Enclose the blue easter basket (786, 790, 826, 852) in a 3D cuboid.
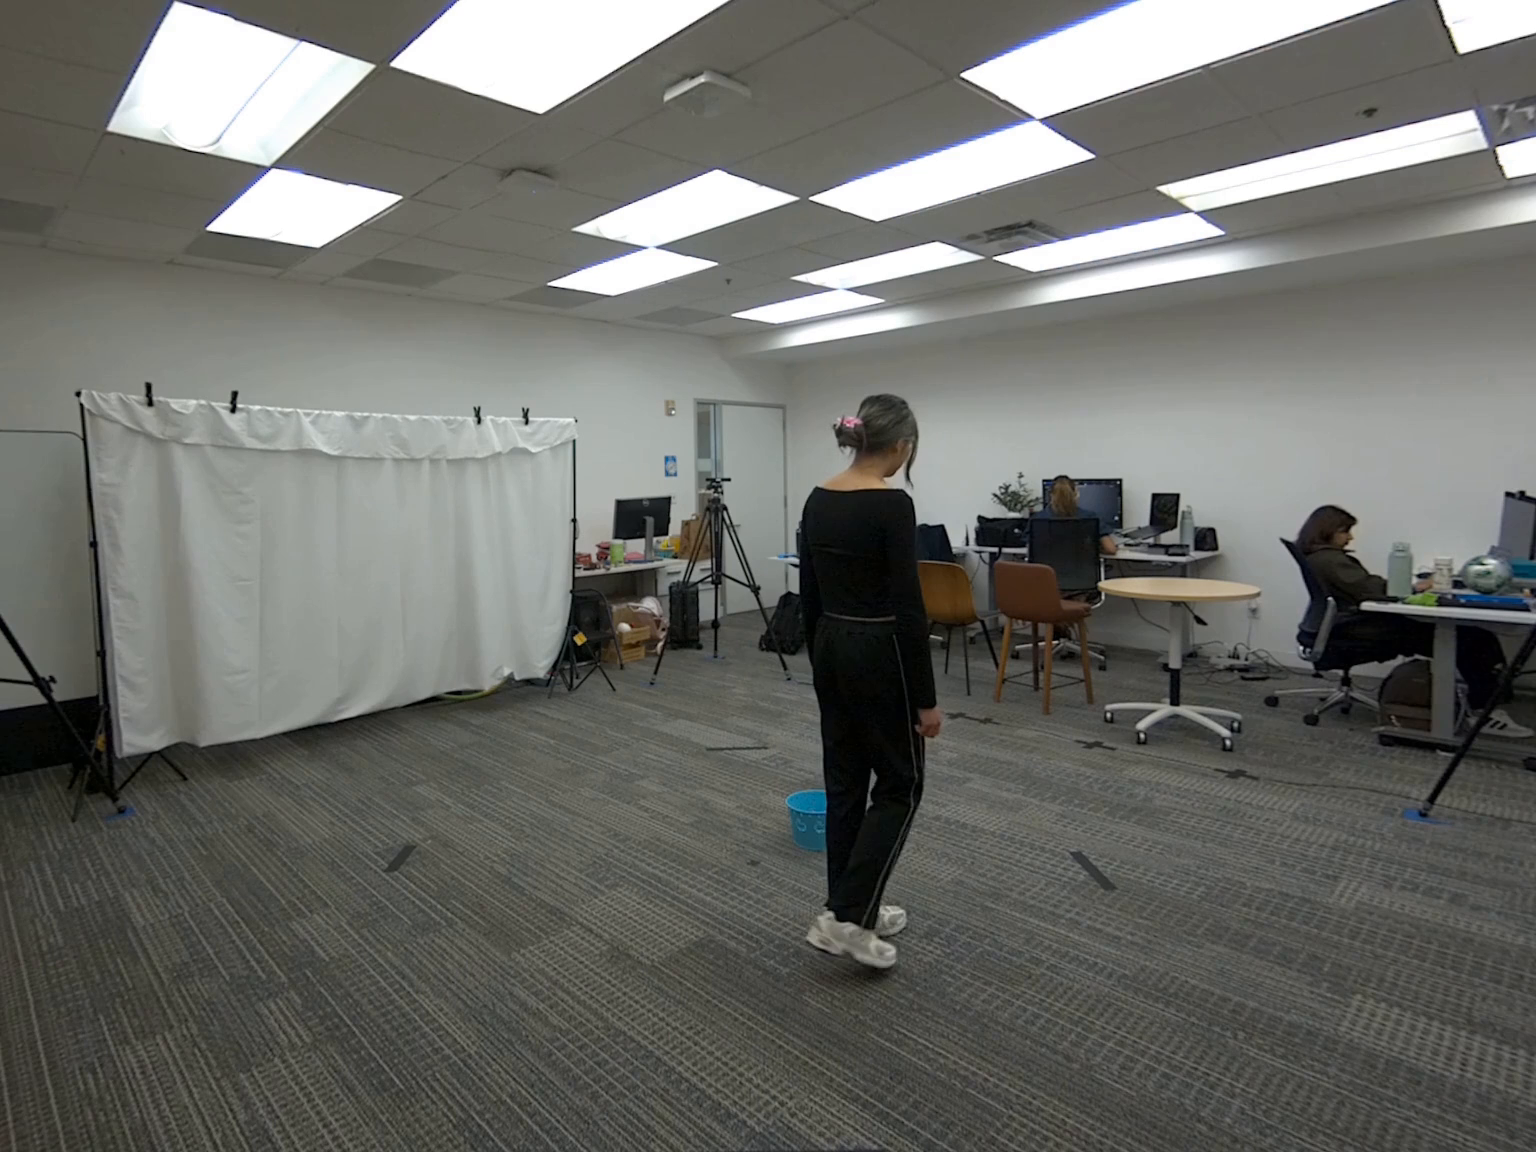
[{"bbox_3d":[0.198,0.939,3.289,0.243,0.155,0.245,-1,5,-2],"label":"blue easter basket"}]
